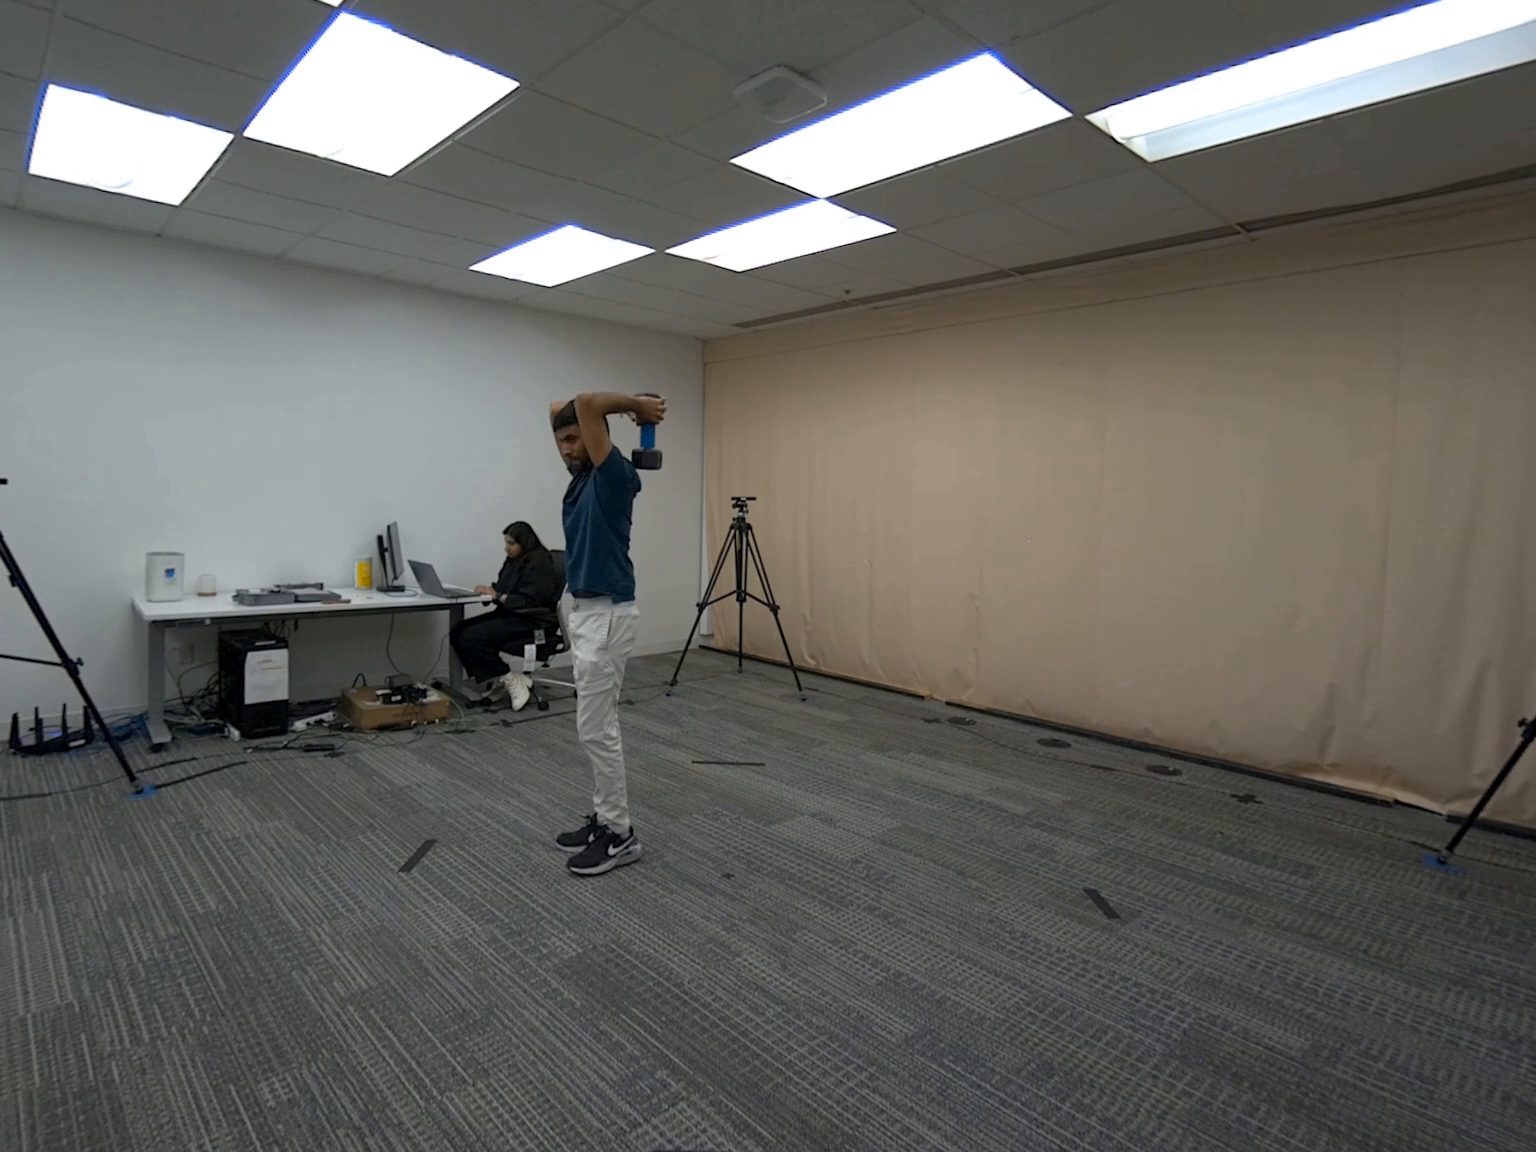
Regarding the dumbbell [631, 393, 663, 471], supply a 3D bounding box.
[{"bbox_3d":[-0.490,-0.565,3.267,0.121,0.292,0.111,-2,7,-22],"label":"dumbbell"}]
